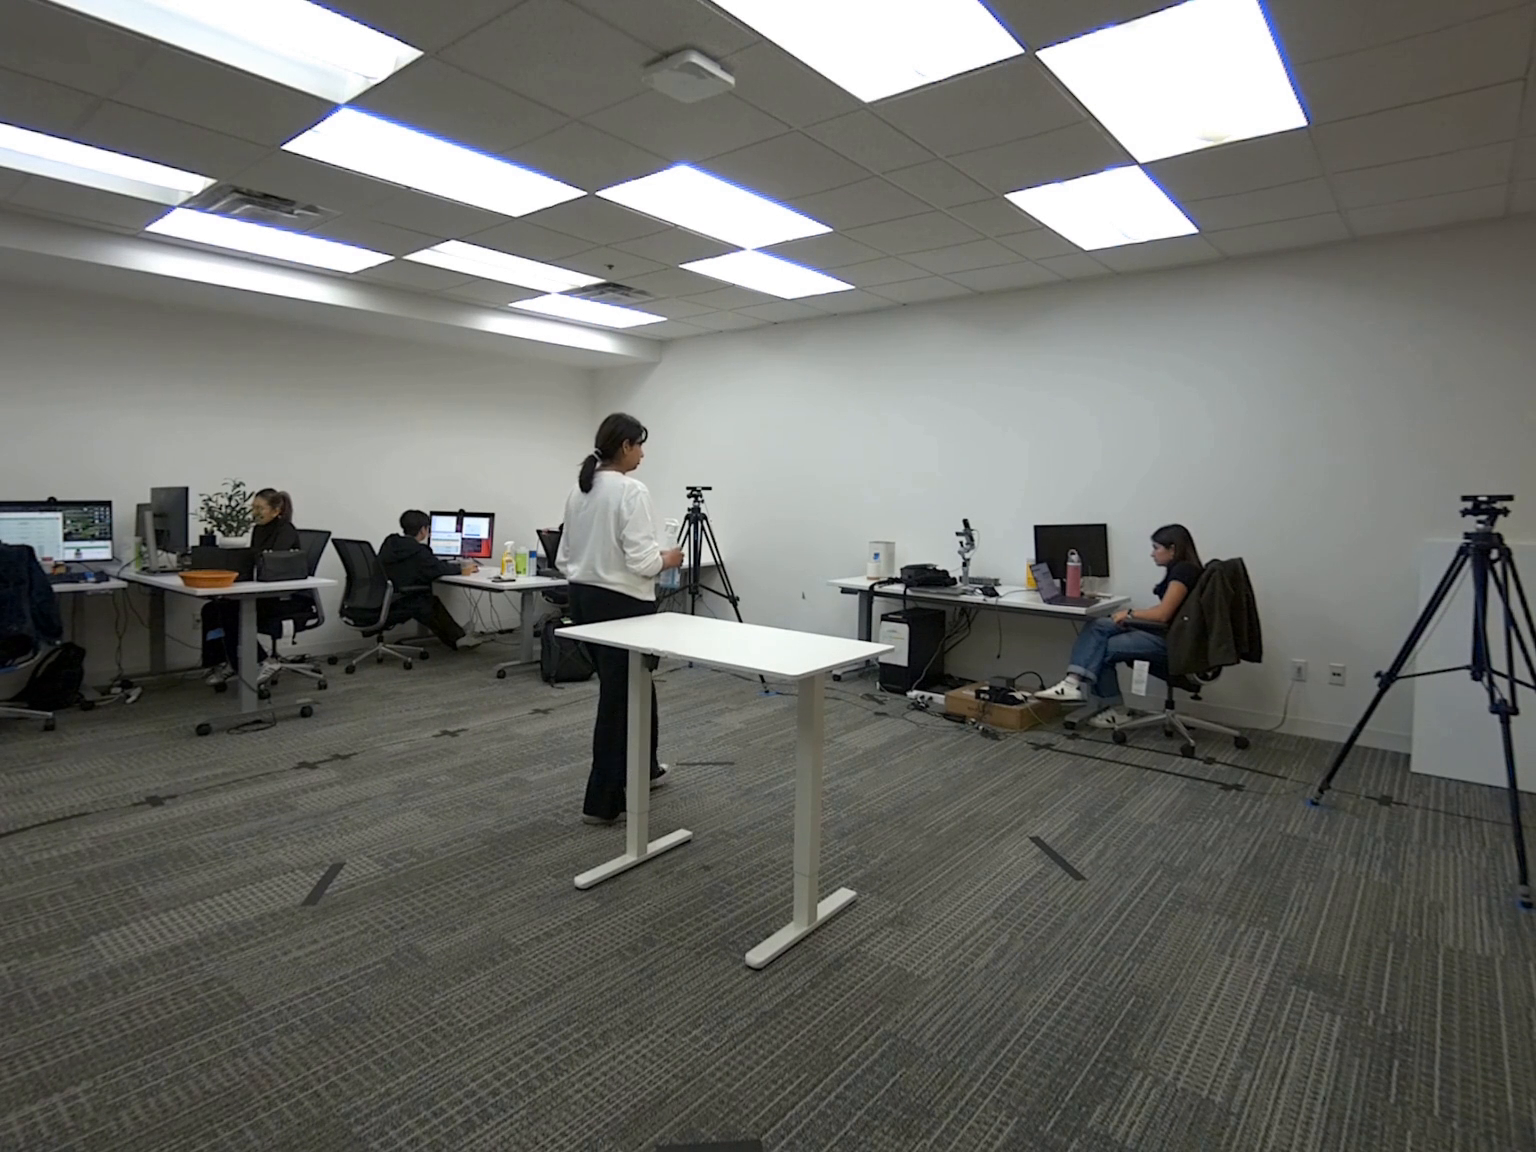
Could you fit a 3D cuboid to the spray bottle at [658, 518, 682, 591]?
[{"bbox_3d":[-0.433,-0.096,3.705,0.085,0.297,0.092,0,0,-23],"label":"spray bottle"}]
